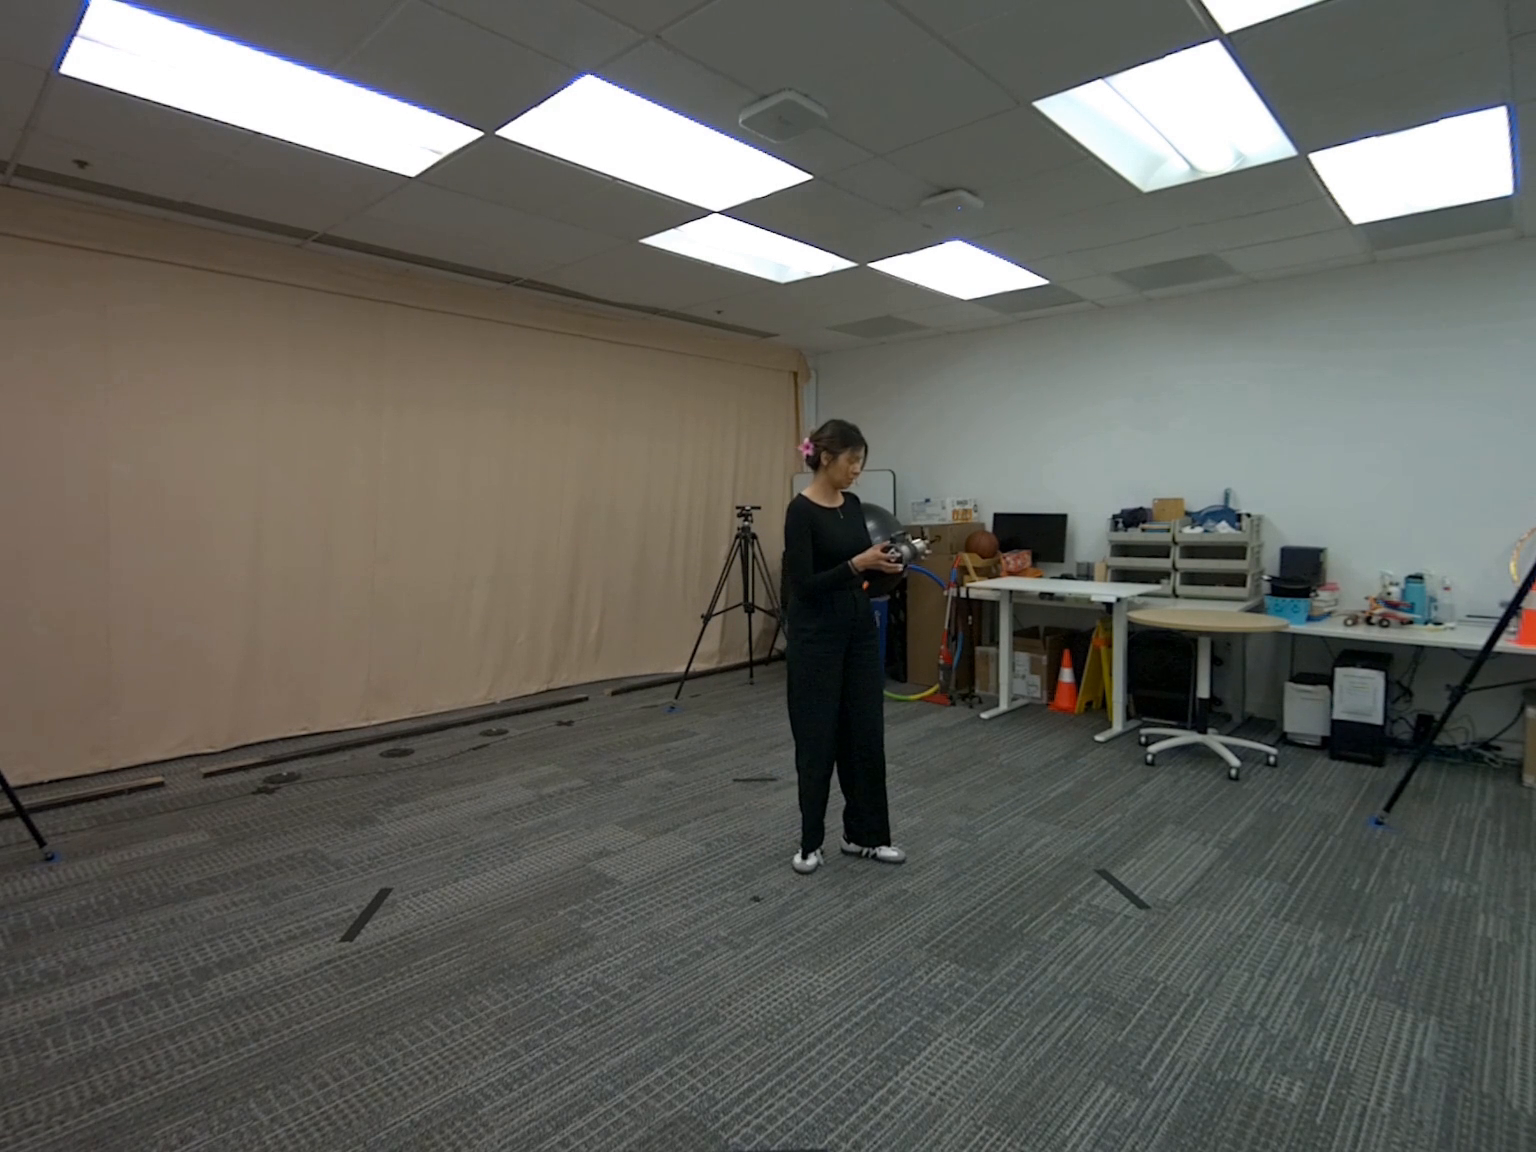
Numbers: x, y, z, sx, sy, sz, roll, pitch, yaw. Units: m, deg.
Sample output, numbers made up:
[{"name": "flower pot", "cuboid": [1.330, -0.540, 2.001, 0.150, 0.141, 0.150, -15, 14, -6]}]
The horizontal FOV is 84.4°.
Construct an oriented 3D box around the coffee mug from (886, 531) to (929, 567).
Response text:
[{"name": "coffee mug", "cuboid": [0.489, -0.092, 2.975, 0.091, 0.121, 0.198, 32, 32, 33]}]
